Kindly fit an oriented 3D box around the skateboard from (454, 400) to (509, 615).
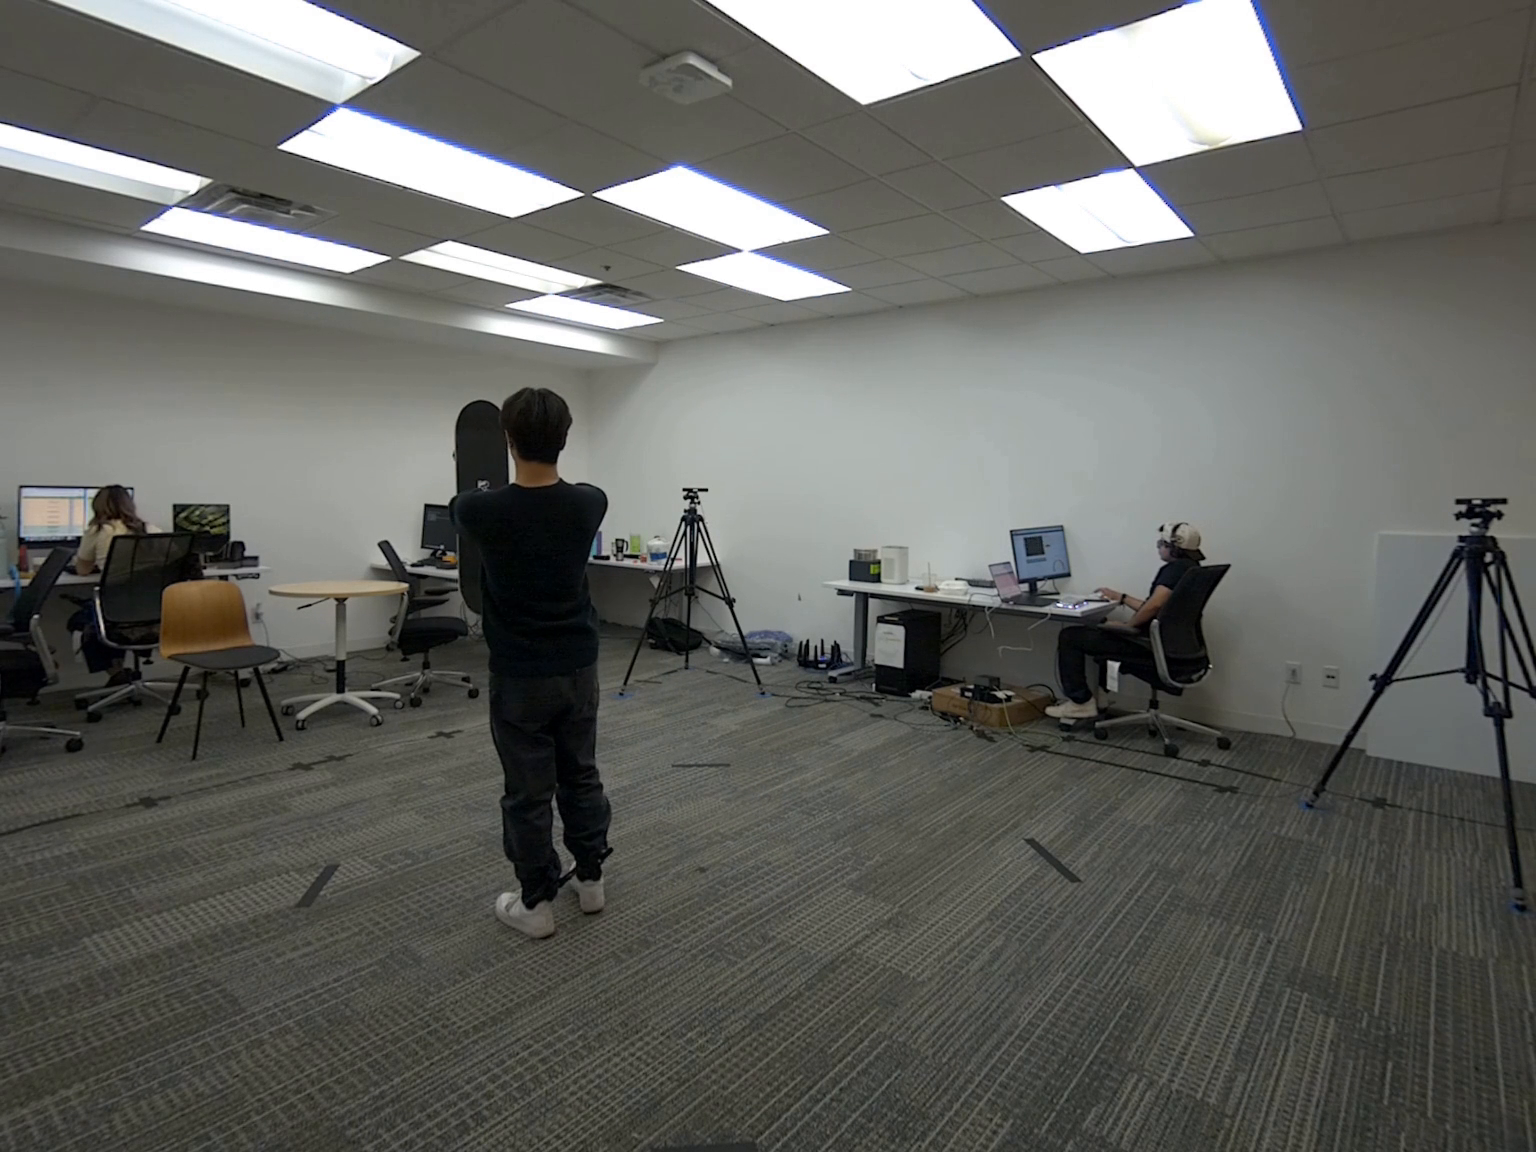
[{"bbox_3d":[-1.068,-0.251,3.148,0.189,0.786,0.113,-1,0,-25],"label":"skateboard"}]
